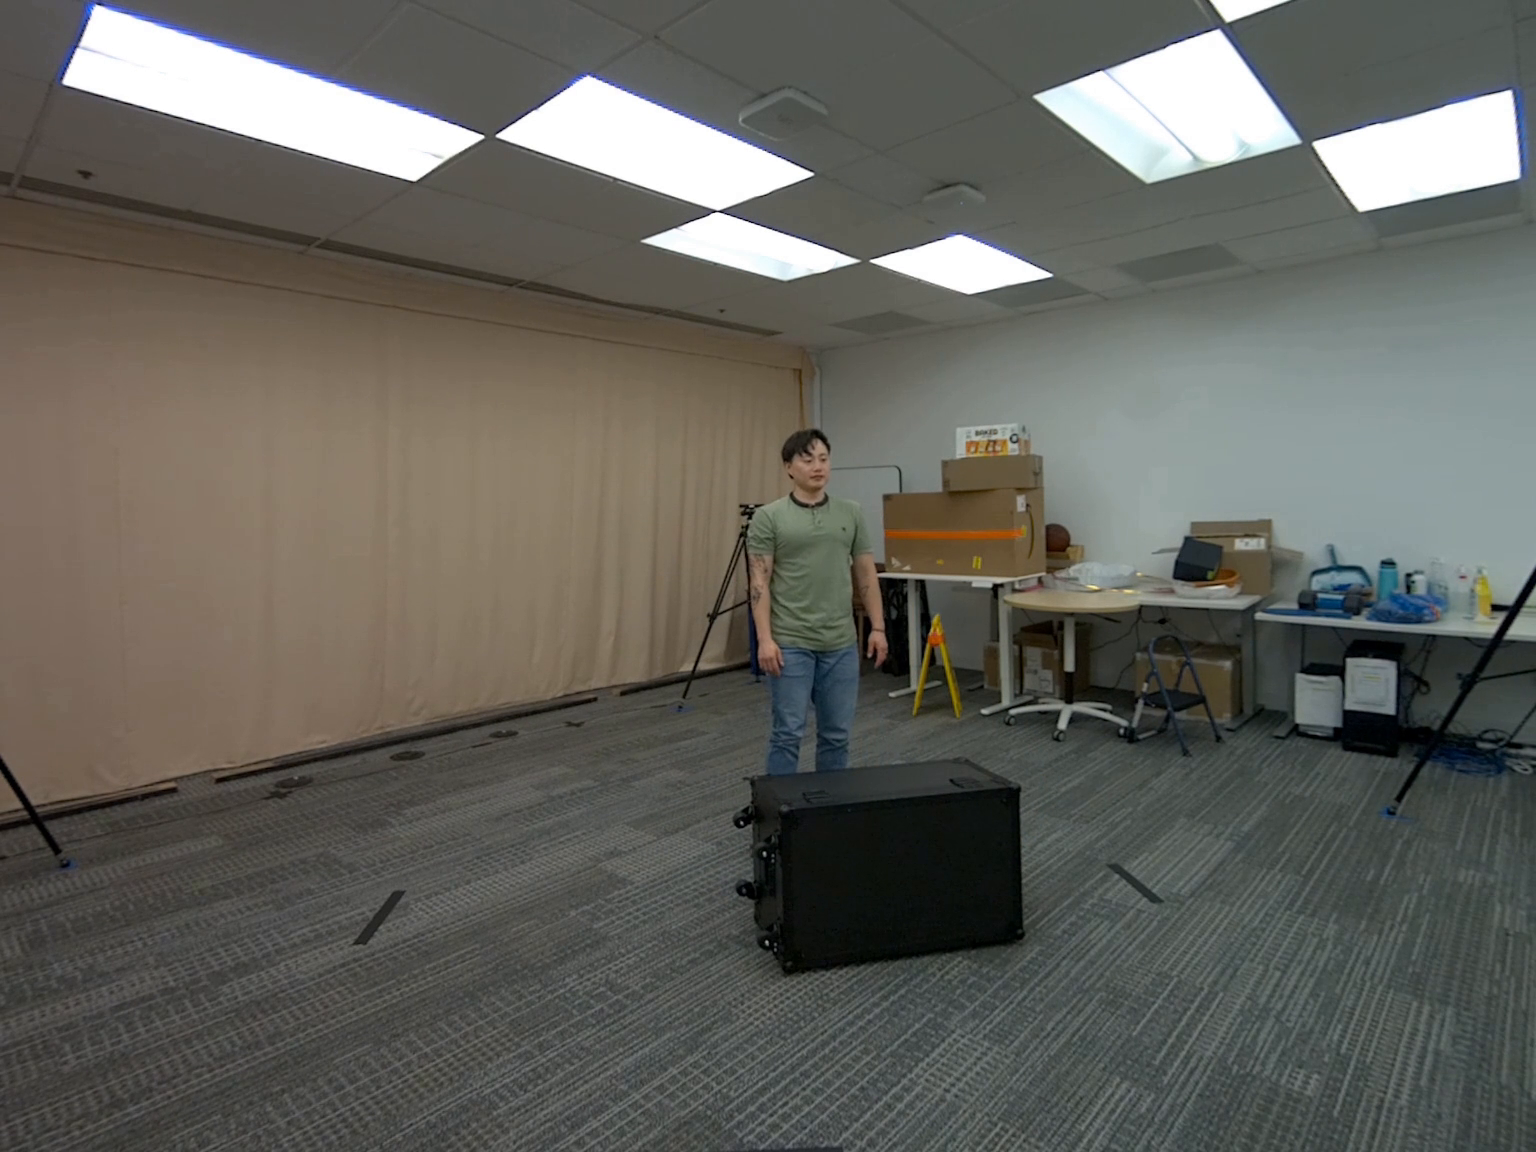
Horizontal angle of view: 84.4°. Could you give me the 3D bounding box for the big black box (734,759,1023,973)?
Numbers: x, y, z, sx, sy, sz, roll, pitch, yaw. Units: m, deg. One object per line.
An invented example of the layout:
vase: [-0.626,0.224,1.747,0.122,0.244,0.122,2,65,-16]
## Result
big black box: [0.344,0.897,2.731,0.850,0.521,0.402,-2,2,-13]
